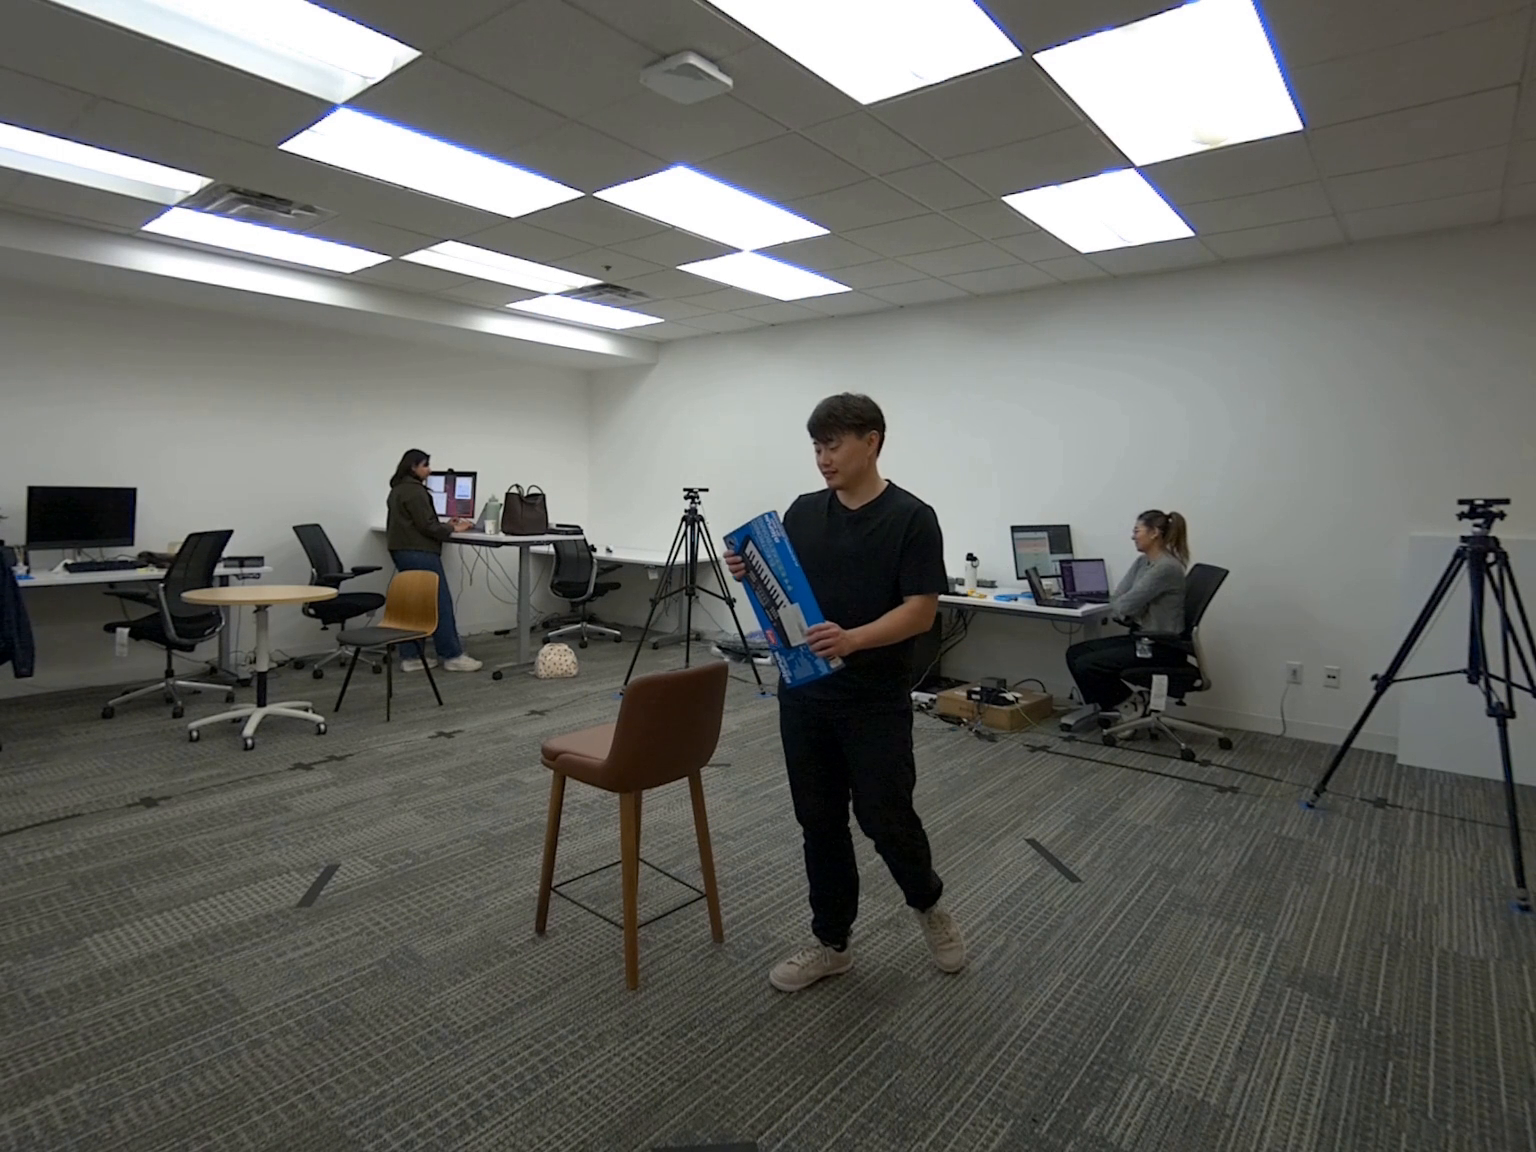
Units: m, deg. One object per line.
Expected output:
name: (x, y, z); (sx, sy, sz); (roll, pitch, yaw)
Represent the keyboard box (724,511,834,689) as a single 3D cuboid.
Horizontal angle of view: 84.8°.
keyboard box: (0.037, 0.061, 2.216); (0.058, 0.441, 0.178); (-17, -10, -42)
